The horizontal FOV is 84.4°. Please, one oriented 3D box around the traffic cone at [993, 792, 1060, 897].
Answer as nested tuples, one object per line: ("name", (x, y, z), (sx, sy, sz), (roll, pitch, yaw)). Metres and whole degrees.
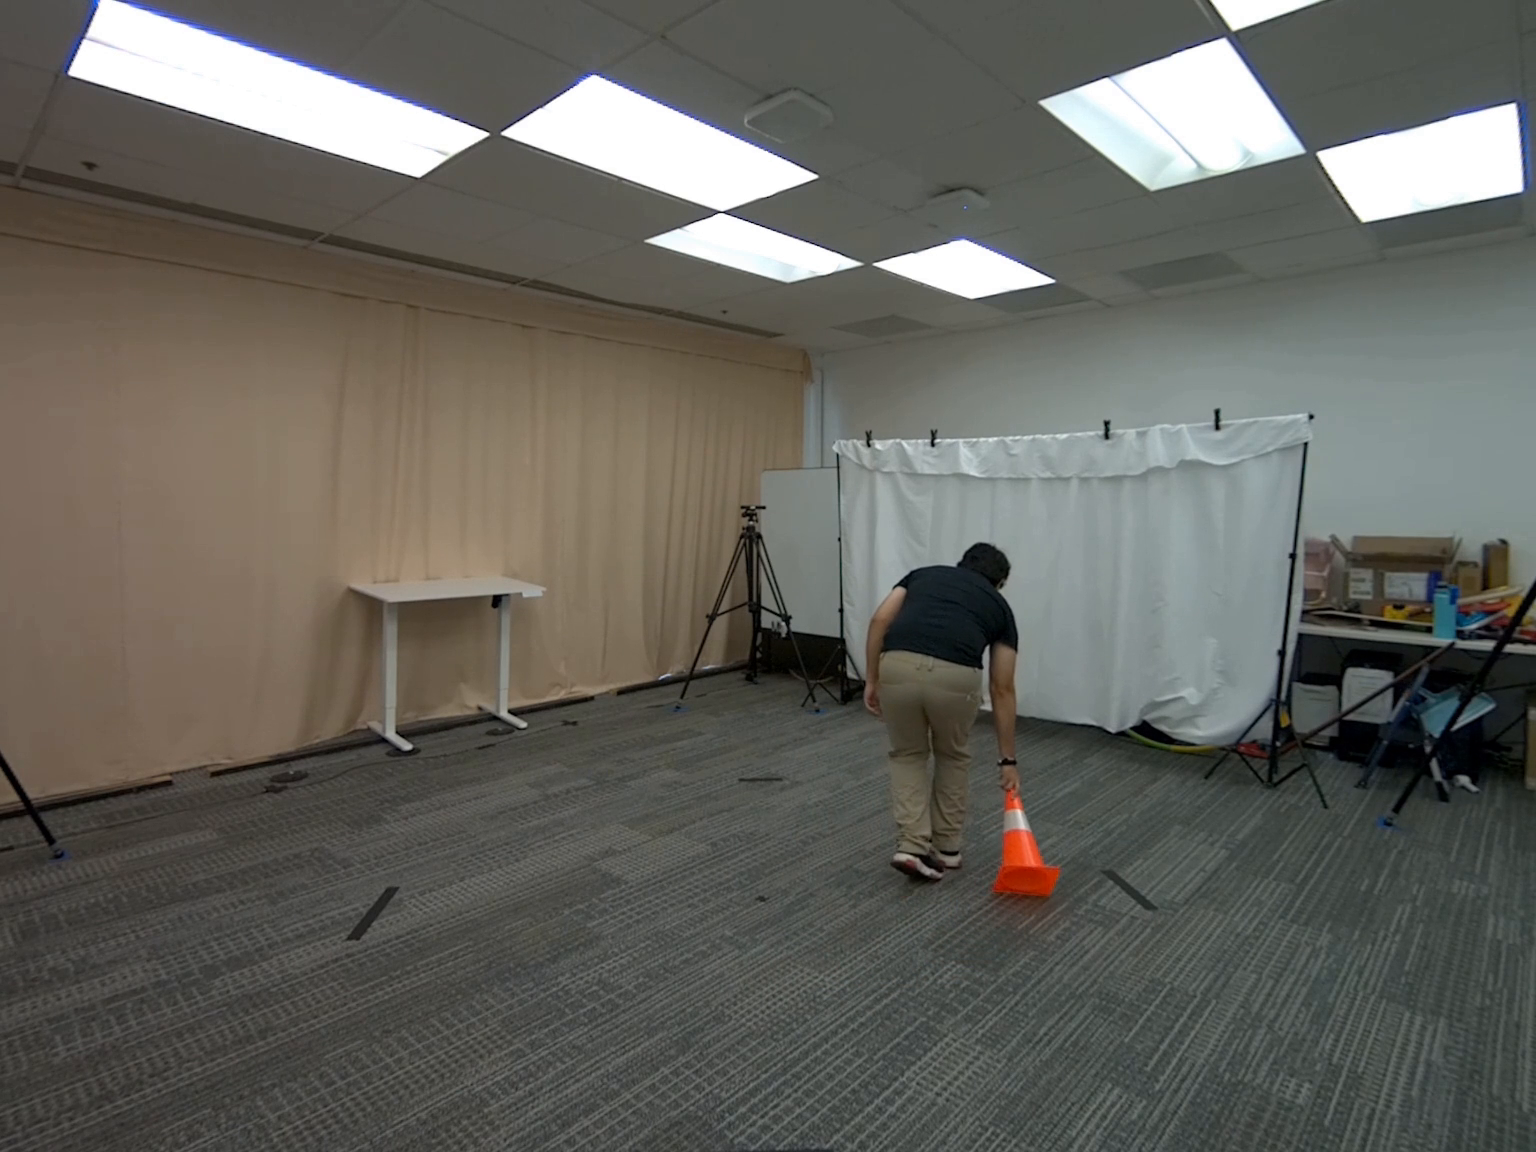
("traffic cone", (0.916, 0.936, 3.081), (0.203, 0.202, 0.389), (8, 44, -2))
